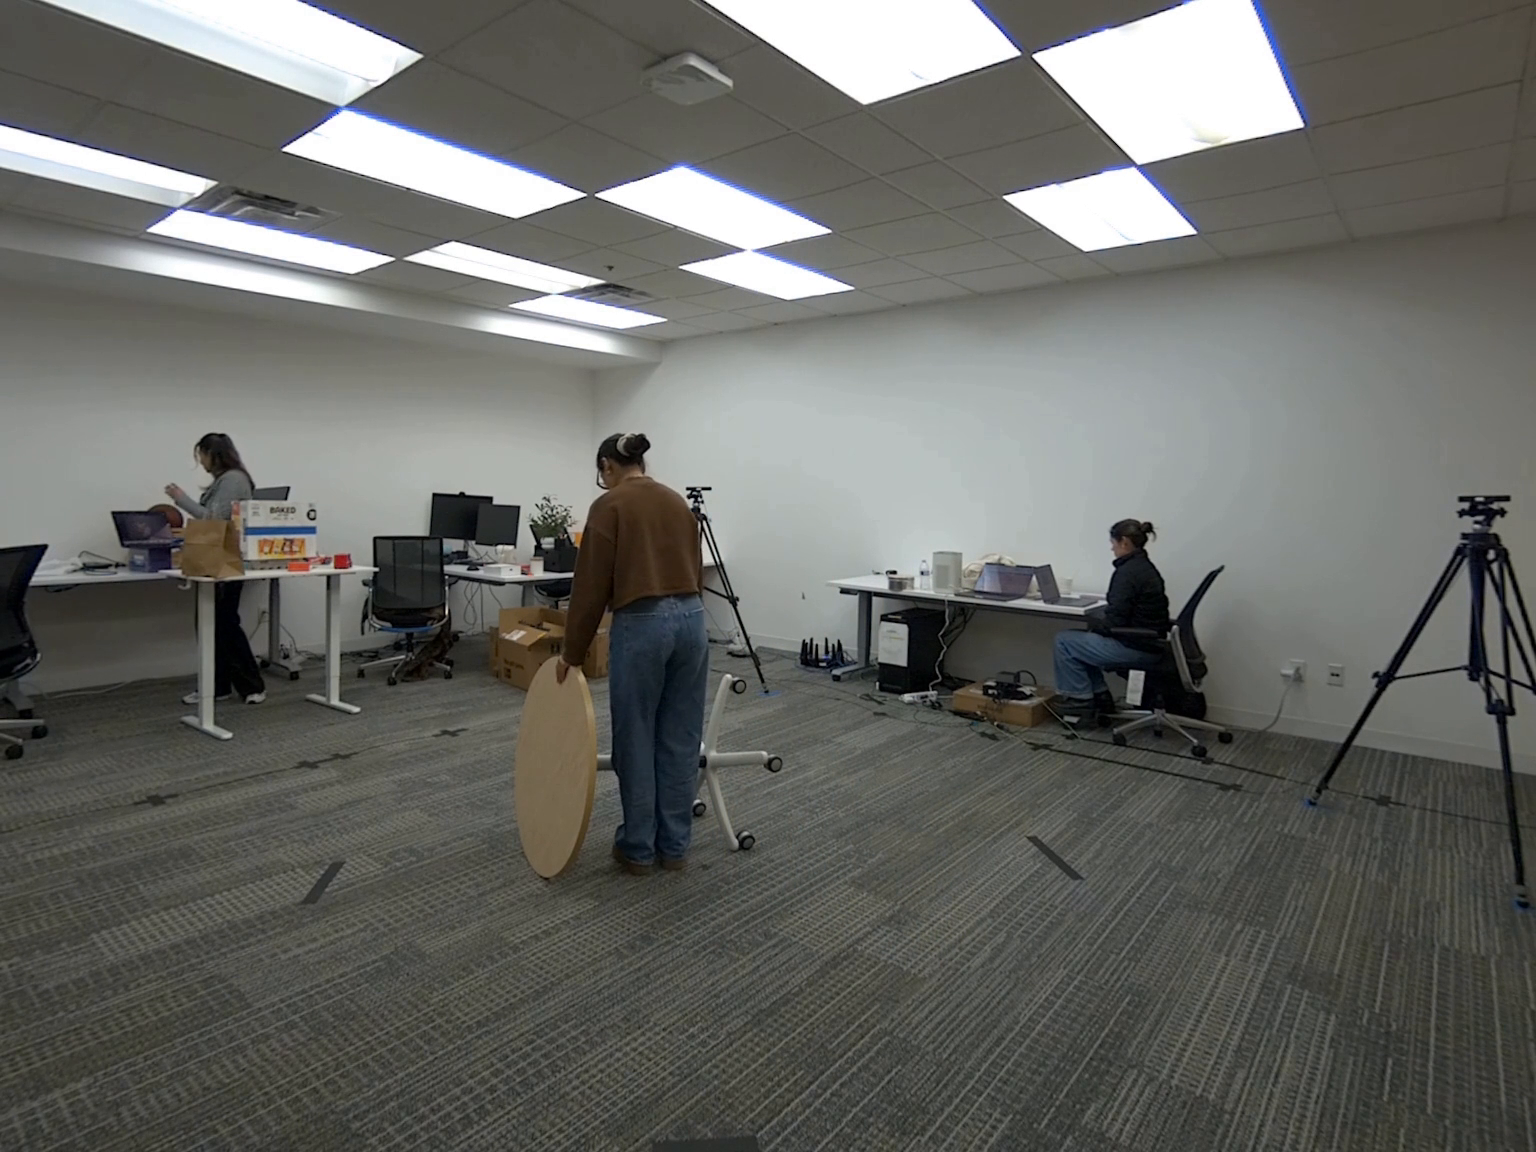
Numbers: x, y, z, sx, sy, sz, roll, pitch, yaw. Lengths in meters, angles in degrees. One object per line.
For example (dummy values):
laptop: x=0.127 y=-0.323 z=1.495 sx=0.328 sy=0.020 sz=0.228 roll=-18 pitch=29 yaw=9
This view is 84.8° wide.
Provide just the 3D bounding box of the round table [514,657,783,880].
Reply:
round table: x=-0.481 y=0.710 z=3.280 sx=0.769 sy=0.764 sz=0.788 roll=7 pitch=0 yaw=-32
